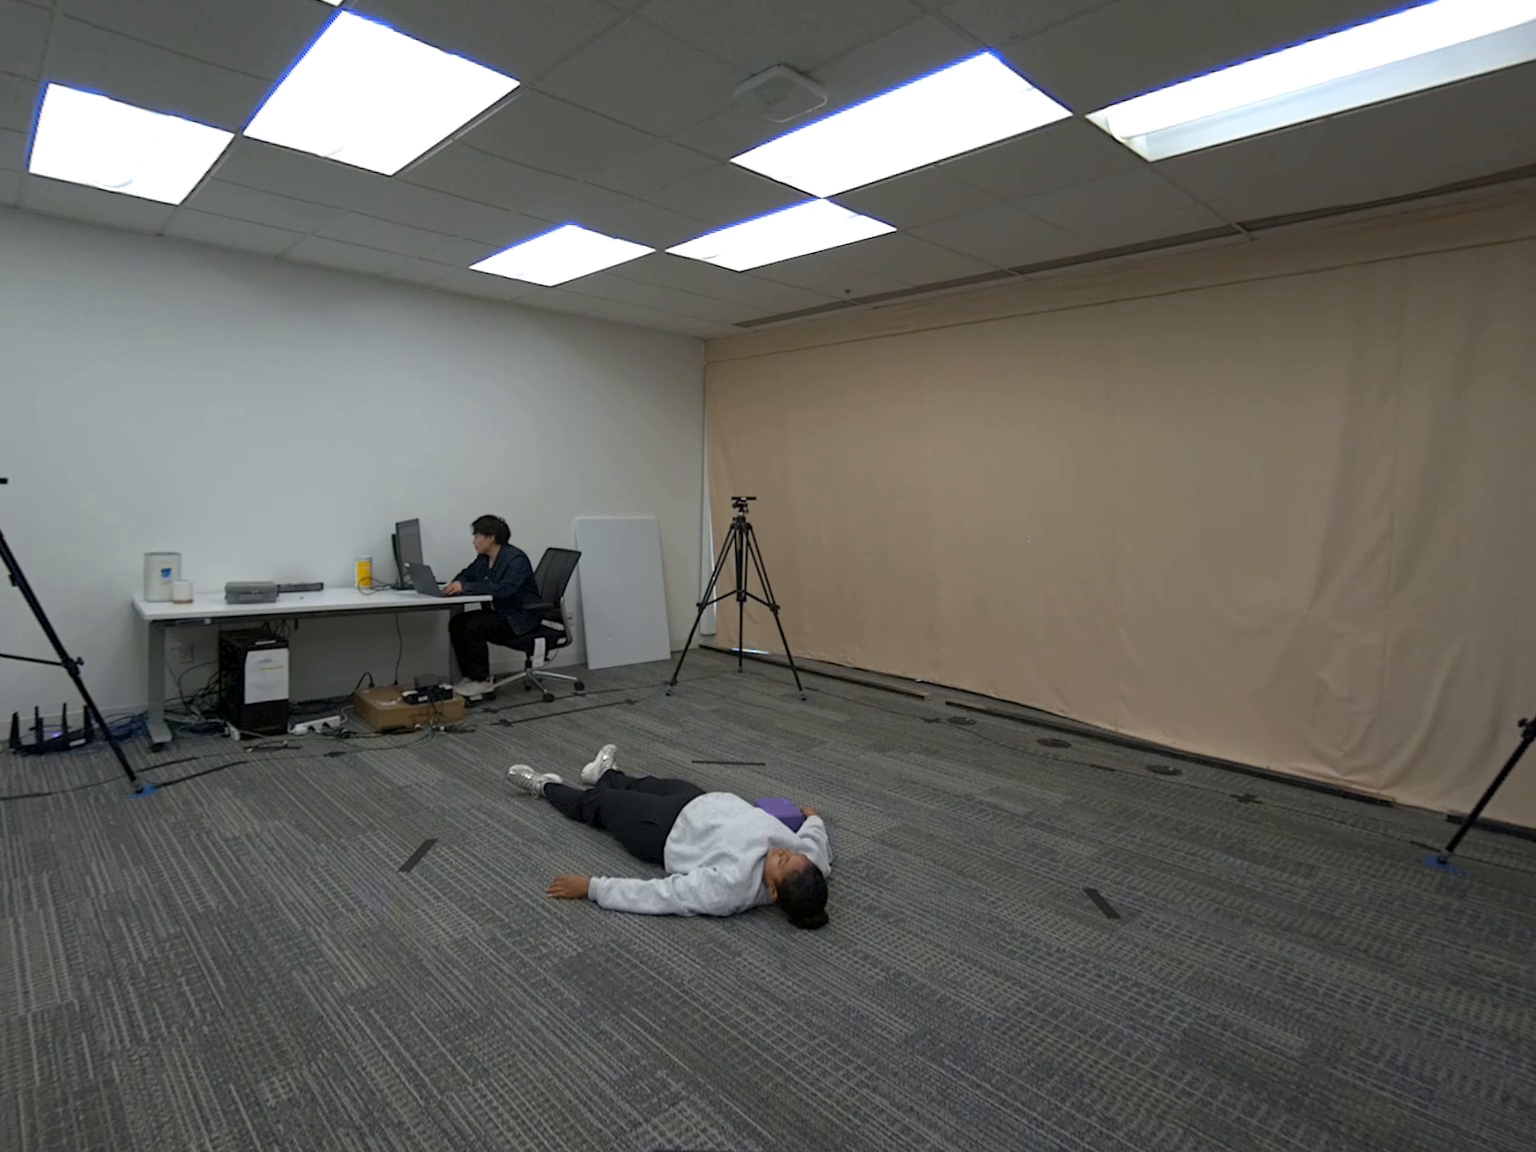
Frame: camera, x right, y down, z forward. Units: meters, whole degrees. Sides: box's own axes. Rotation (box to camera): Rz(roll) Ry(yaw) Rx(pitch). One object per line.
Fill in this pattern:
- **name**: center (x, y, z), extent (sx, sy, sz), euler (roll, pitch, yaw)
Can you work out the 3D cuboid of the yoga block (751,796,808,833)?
- **yoga block**: center (0.035, 1.027, 3.625), extent (0.147, 0.076, 0.233), euler (0, 5, -17)
